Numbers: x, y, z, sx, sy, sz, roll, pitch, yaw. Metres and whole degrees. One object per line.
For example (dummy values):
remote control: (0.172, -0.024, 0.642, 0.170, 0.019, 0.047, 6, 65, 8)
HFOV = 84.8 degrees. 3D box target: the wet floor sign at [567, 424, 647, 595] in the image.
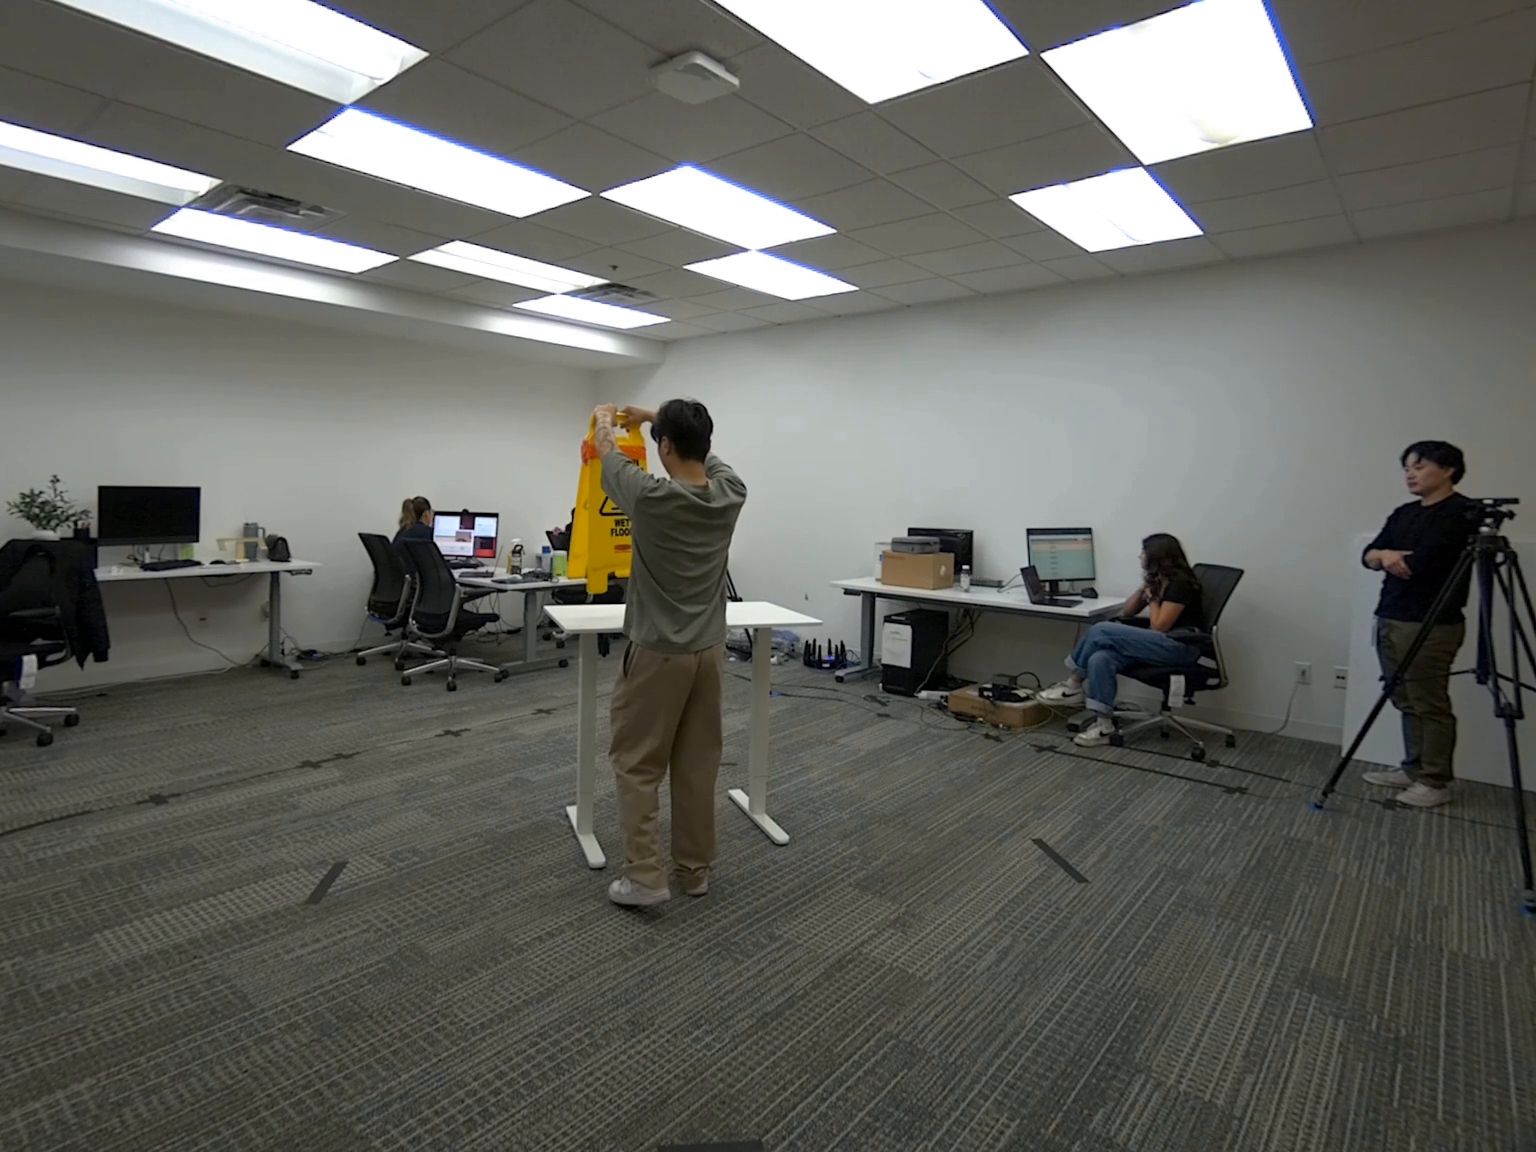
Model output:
wet floor sign: (-0.604, -0.286, 3.217, 0.275, 0.641, 0.300, -1, 9, -30)
